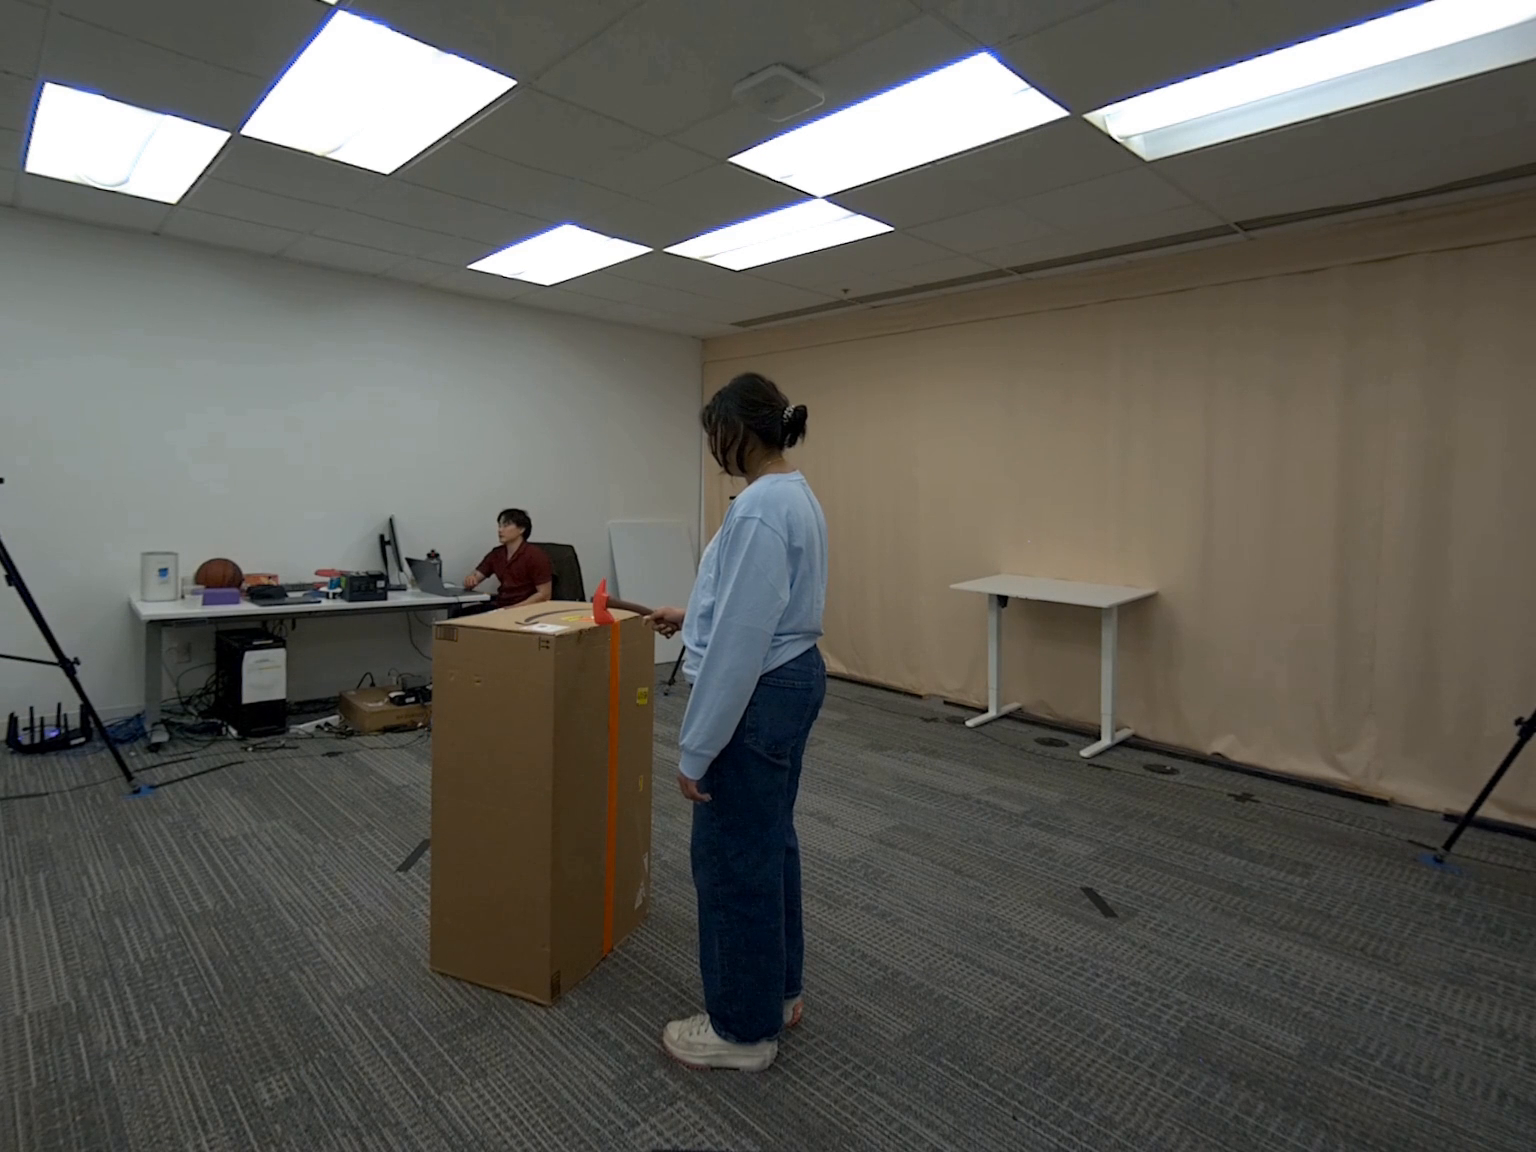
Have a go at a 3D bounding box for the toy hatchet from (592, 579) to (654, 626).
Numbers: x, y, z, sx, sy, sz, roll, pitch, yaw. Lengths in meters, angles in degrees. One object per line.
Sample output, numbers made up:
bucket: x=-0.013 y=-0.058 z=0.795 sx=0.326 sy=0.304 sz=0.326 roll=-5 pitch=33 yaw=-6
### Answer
toy hatchet: x=-0.414 y=0.121 z=2.387 sx=0.273 sy=0.131 sz=0.029 roll=32 pitch=8 yaw=9
